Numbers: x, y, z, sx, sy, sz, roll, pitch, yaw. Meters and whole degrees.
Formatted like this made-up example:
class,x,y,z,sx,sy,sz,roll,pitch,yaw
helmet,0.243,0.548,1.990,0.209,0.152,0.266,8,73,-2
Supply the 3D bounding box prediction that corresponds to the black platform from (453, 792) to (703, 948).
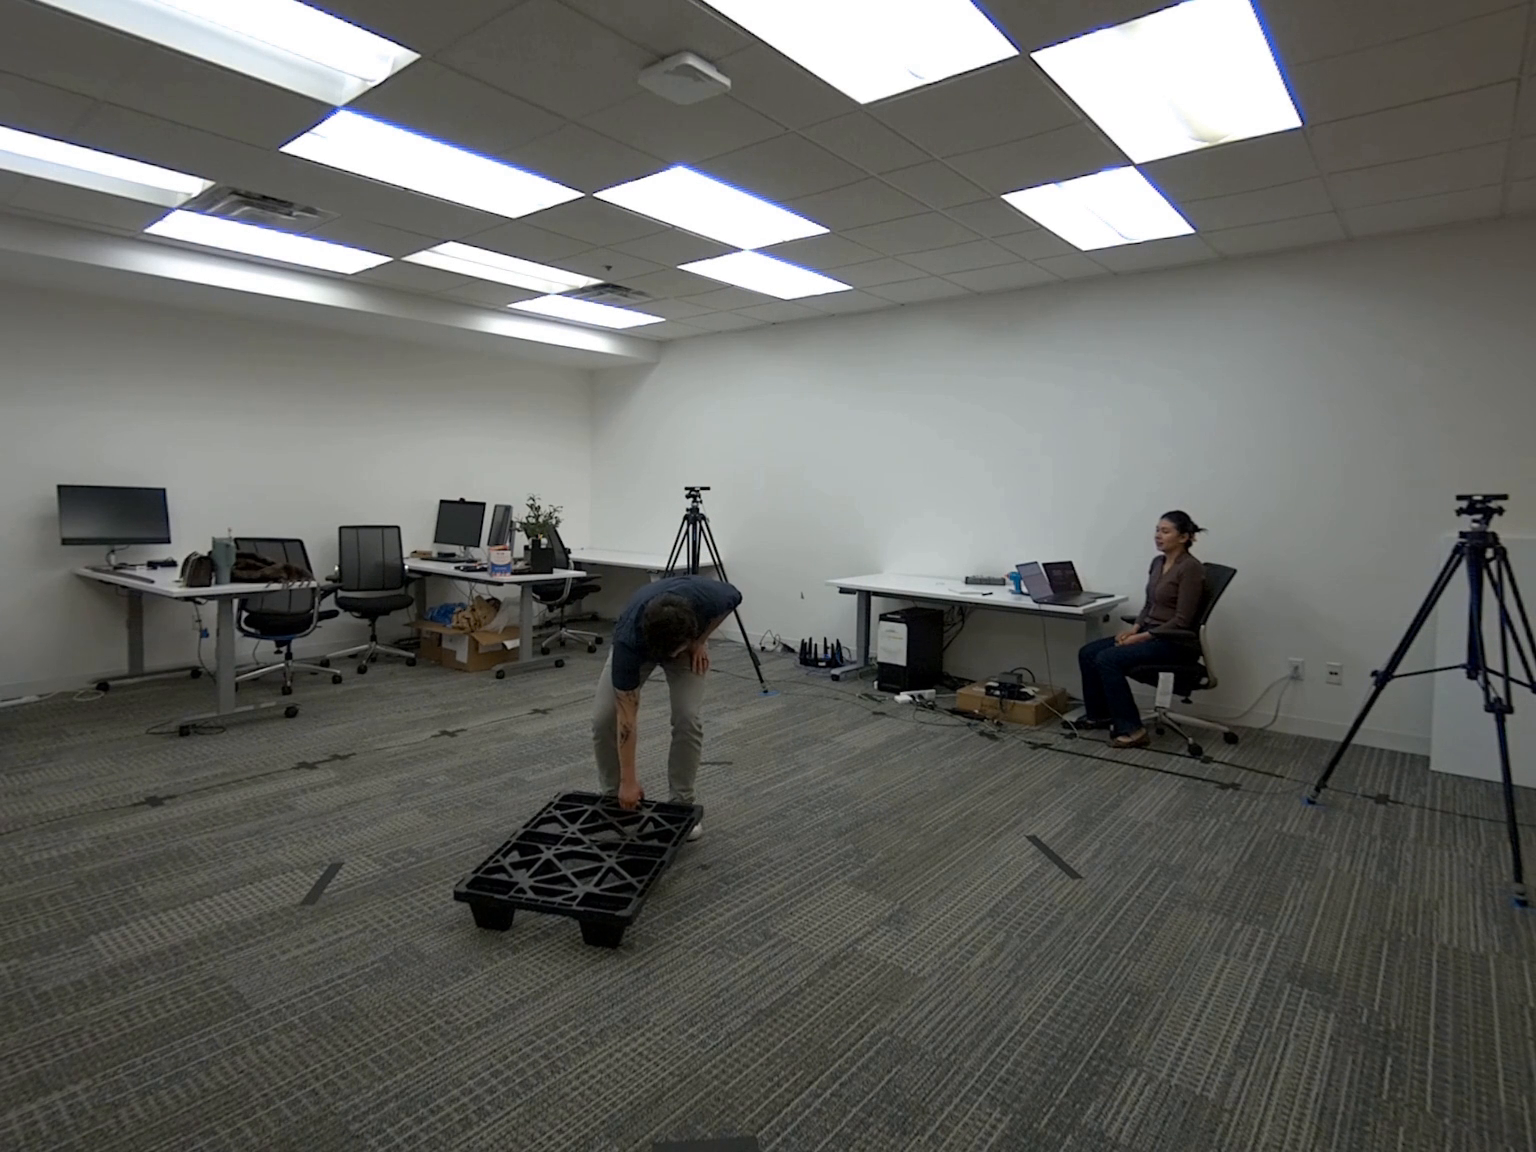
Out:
class,x,y,z,sx,sy,sz,roll,pitch,yaw
black platform,-0.626,0.988,2.953,0.614,0.142,0.799,1,8,13
